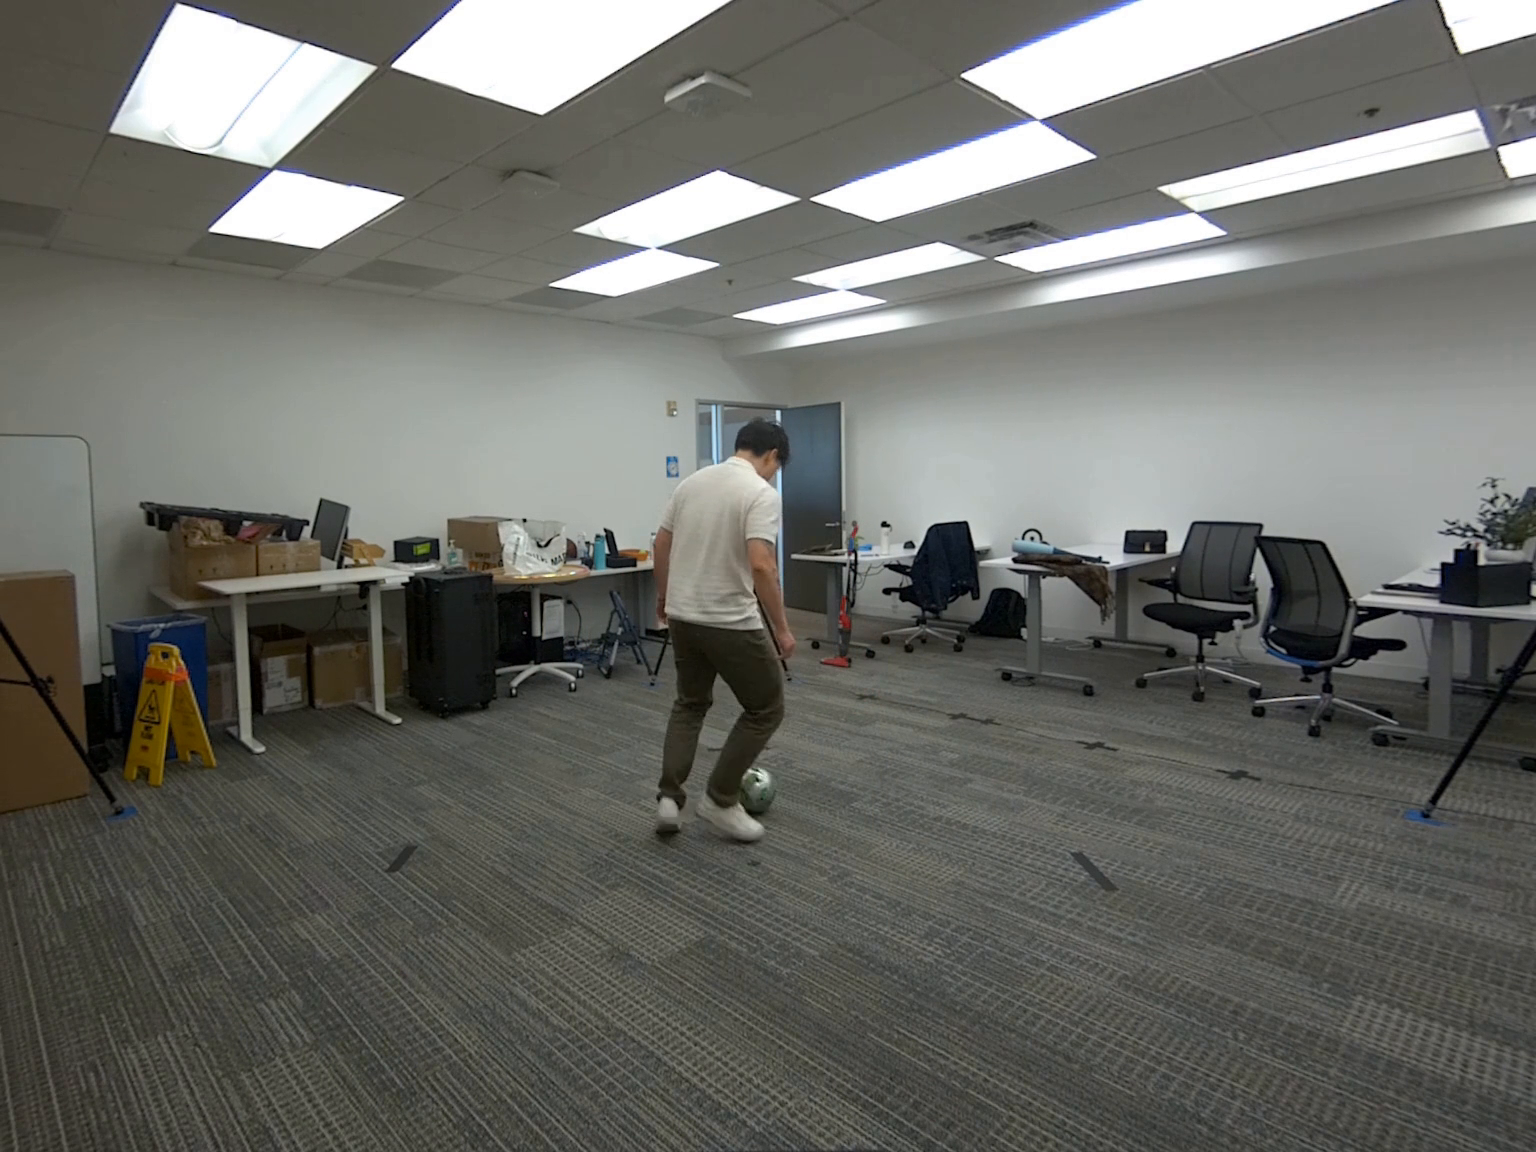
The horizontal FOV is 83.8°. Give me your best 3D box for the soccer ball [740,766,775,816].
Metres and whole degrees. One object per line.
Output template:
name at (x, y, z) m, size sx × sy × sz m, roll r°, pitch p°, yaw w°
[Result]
soccer ball at (-0.058, 0.895, 3.582) m, size 0.187 × 0.187 × 0.188 m, roll -1°, pitch 5°, yaw -2°
